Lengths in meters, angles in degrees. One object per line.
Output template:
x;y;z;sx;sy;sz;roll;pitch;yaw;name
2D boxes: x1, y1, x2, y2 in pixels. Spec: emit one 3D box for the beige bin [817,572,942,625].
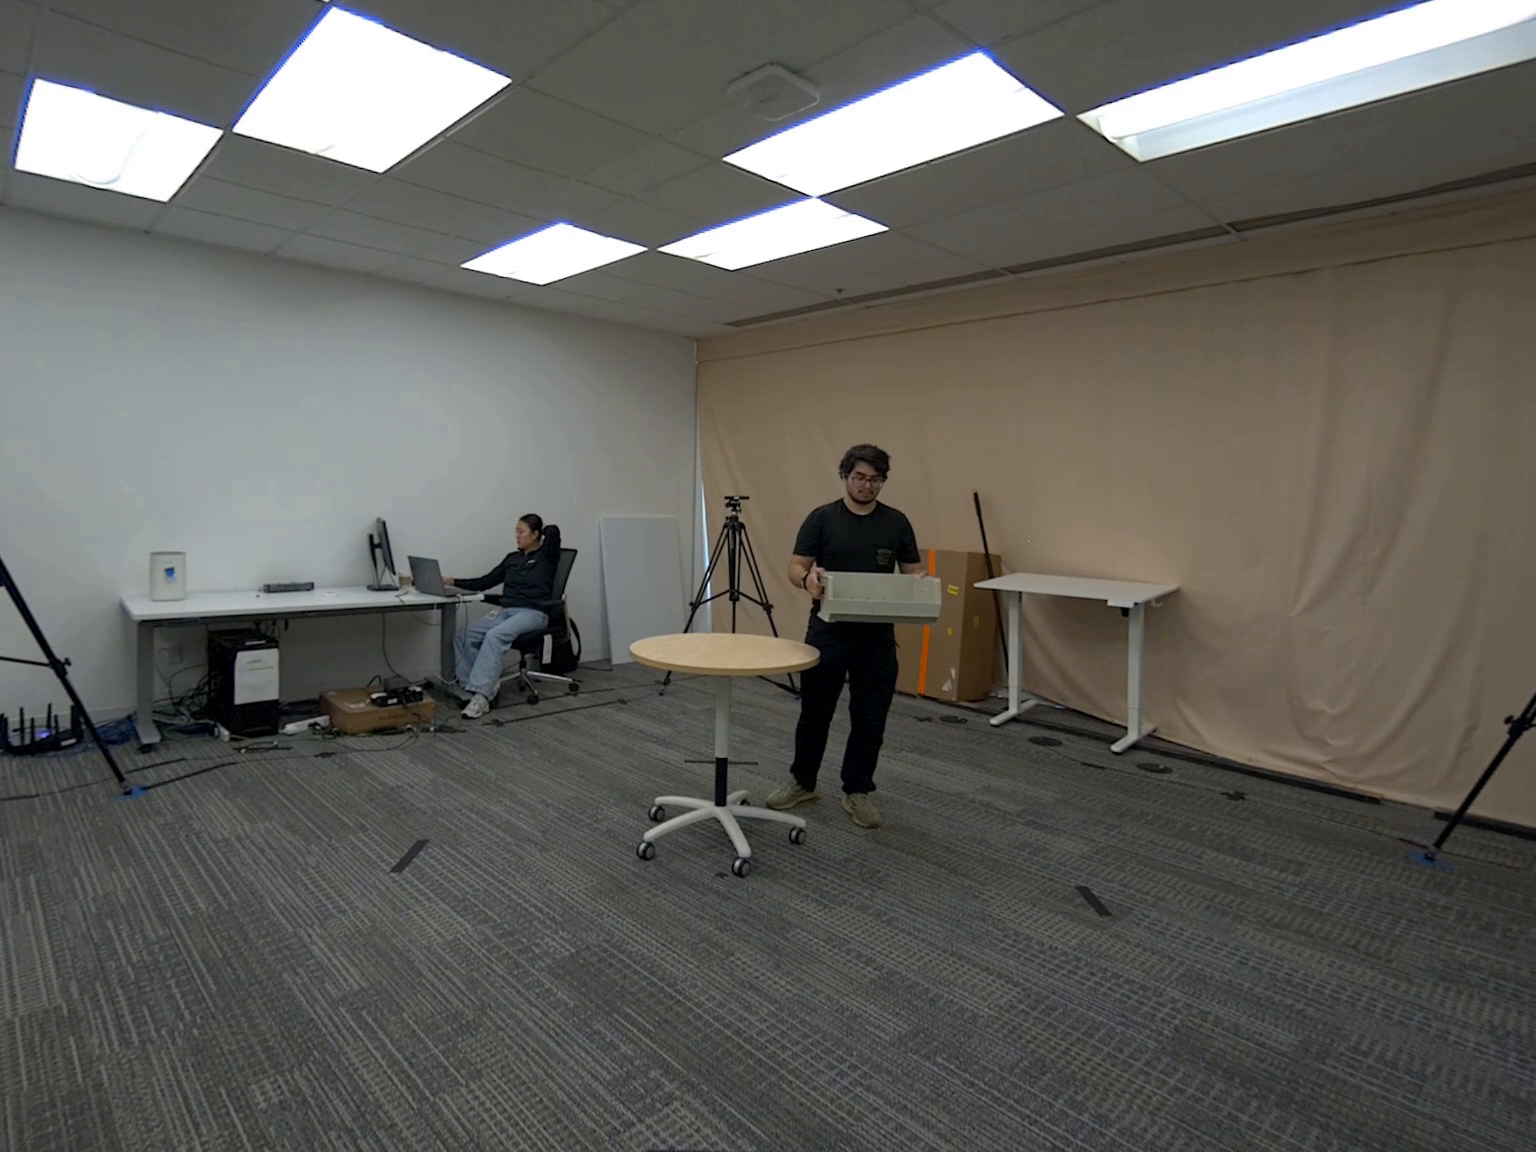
0.410;0.095;3.291;0.421;0.189;0.378;3;1;-3;beige bin
